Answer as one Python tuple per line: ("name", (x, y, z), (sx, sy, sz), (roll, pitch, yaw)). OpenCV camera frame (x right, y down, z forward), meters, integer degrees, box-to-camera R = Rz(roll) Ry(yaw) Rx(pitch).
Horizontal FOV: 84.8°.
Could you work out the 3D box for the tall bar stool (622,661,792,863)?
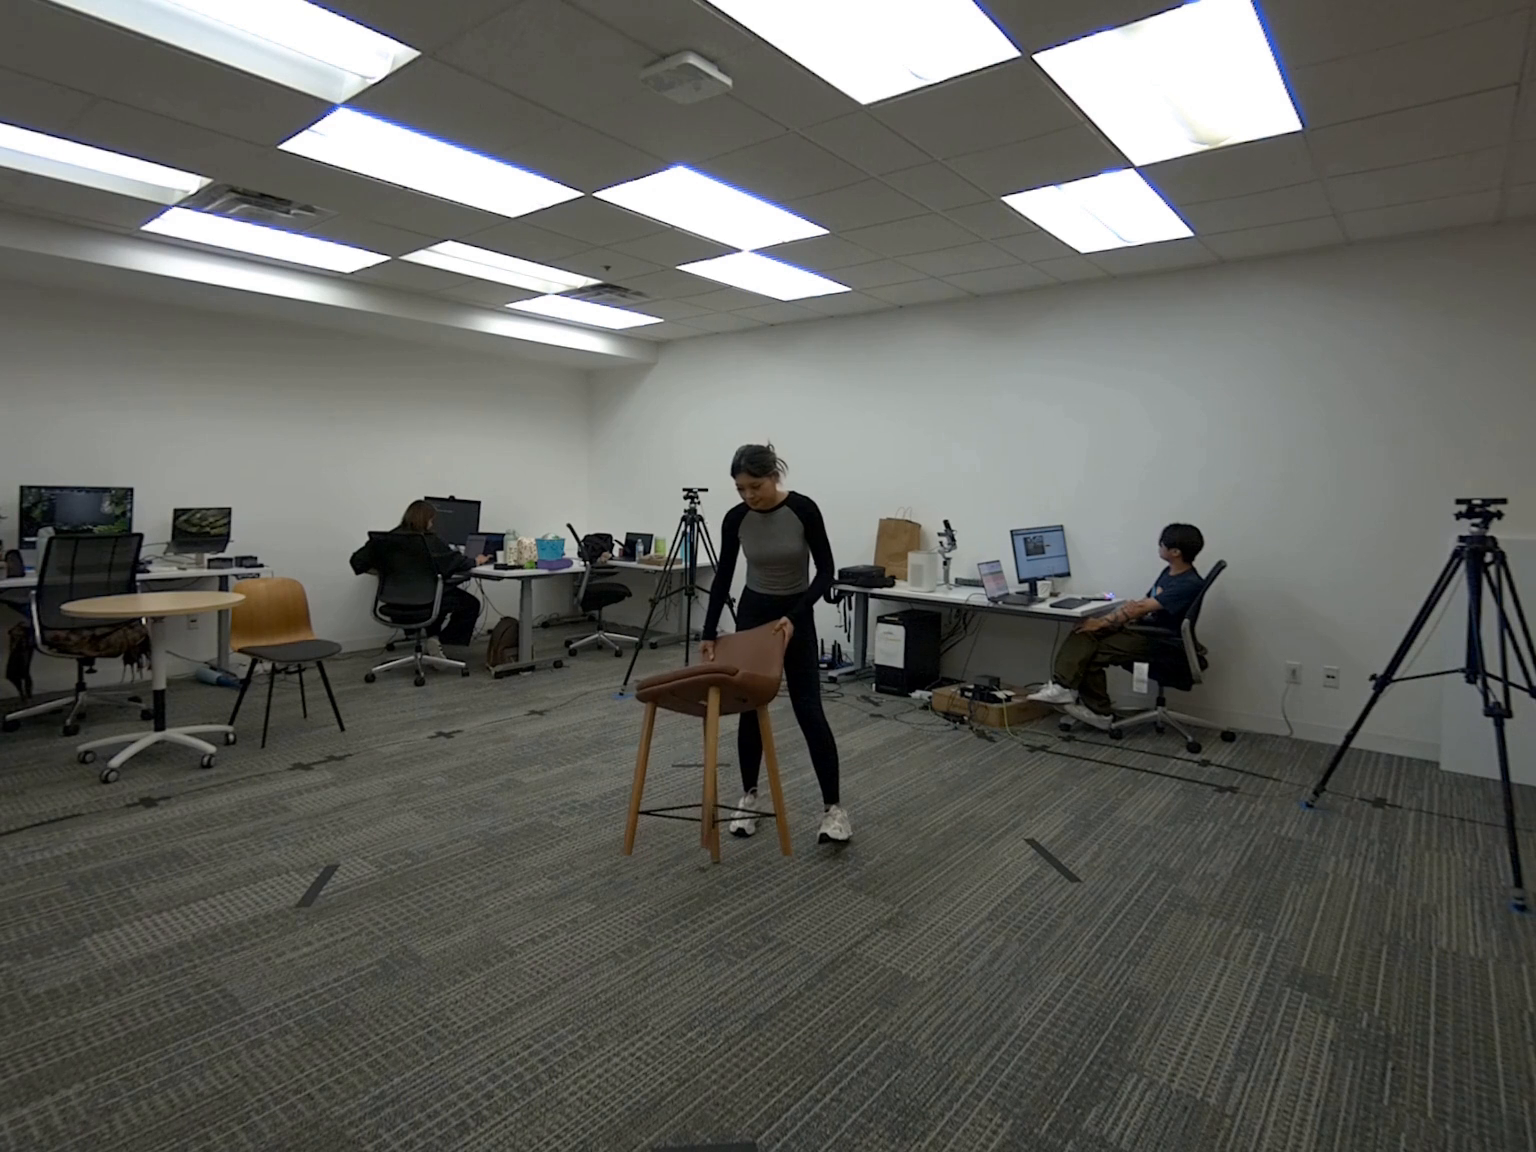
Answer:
("tall bar stool", (-0.215, 0.559, 3.103), (0.465, 0.909, 0.449), (-21, -32, 39))
